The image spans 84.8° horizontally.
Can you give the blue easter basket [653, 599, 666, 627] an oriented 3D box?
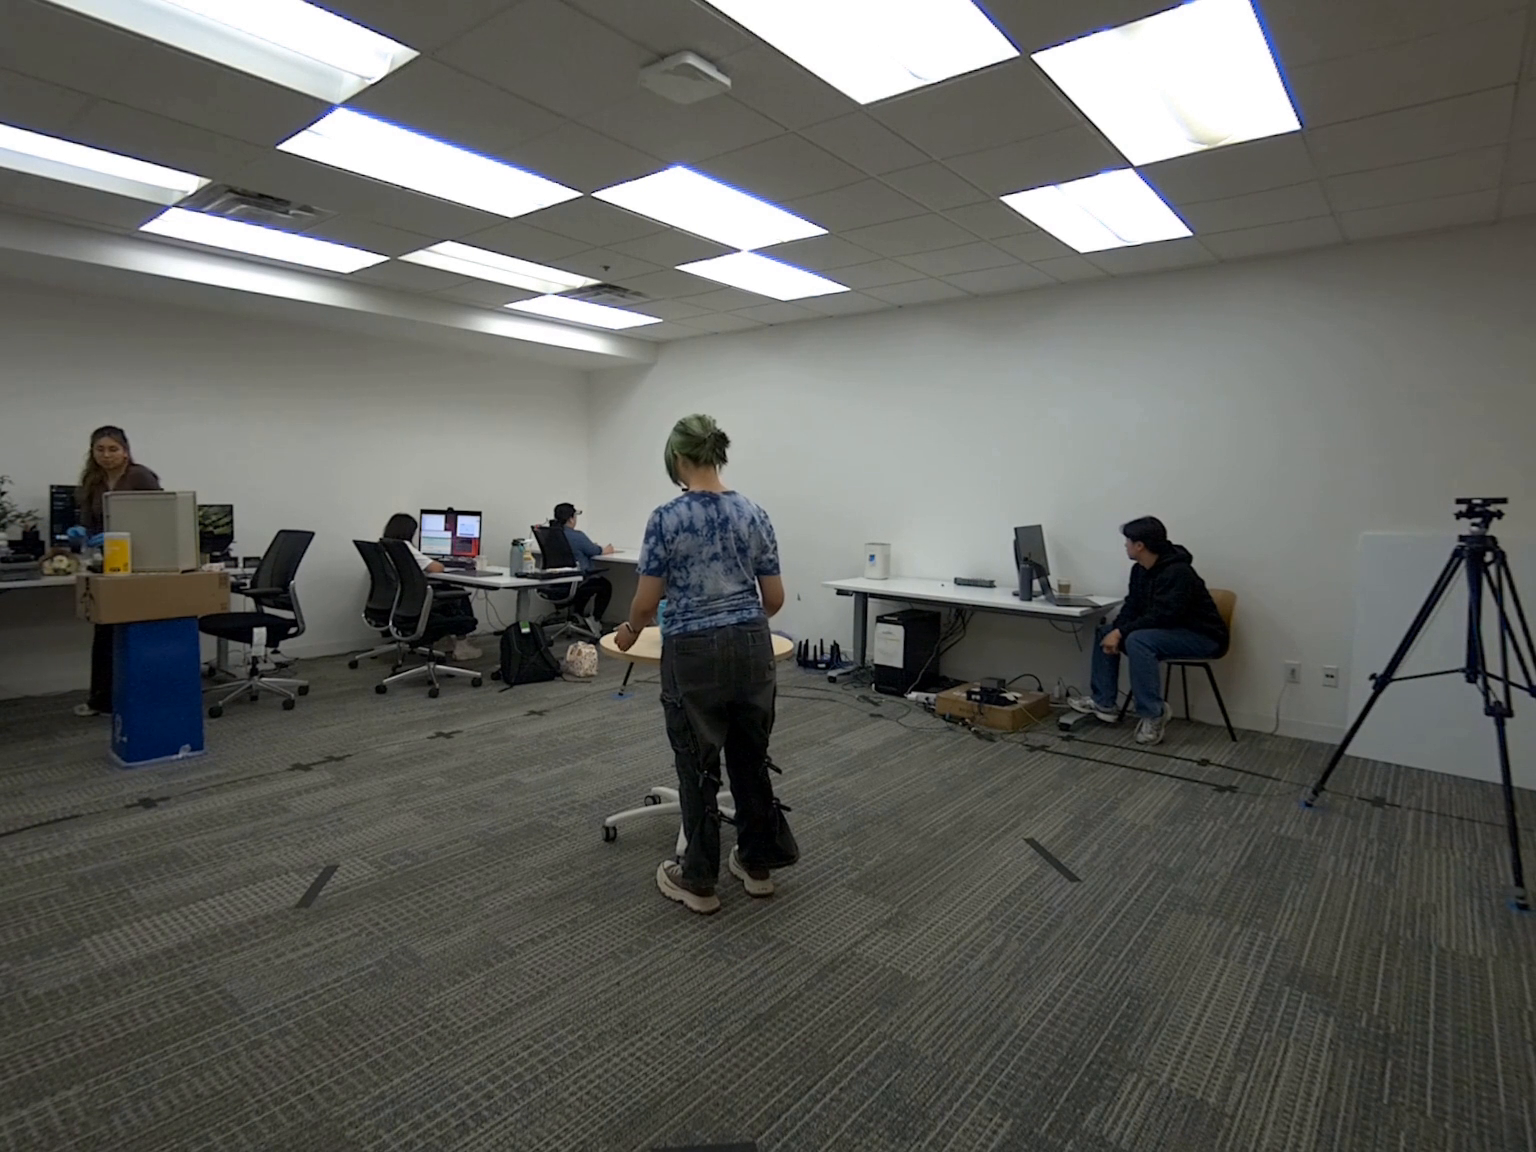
[{"bbox_3d":[-0.339,0.183,3.356,0.243,0.155,0.245,2,7,-2],"label":"blue easter basket"}]
